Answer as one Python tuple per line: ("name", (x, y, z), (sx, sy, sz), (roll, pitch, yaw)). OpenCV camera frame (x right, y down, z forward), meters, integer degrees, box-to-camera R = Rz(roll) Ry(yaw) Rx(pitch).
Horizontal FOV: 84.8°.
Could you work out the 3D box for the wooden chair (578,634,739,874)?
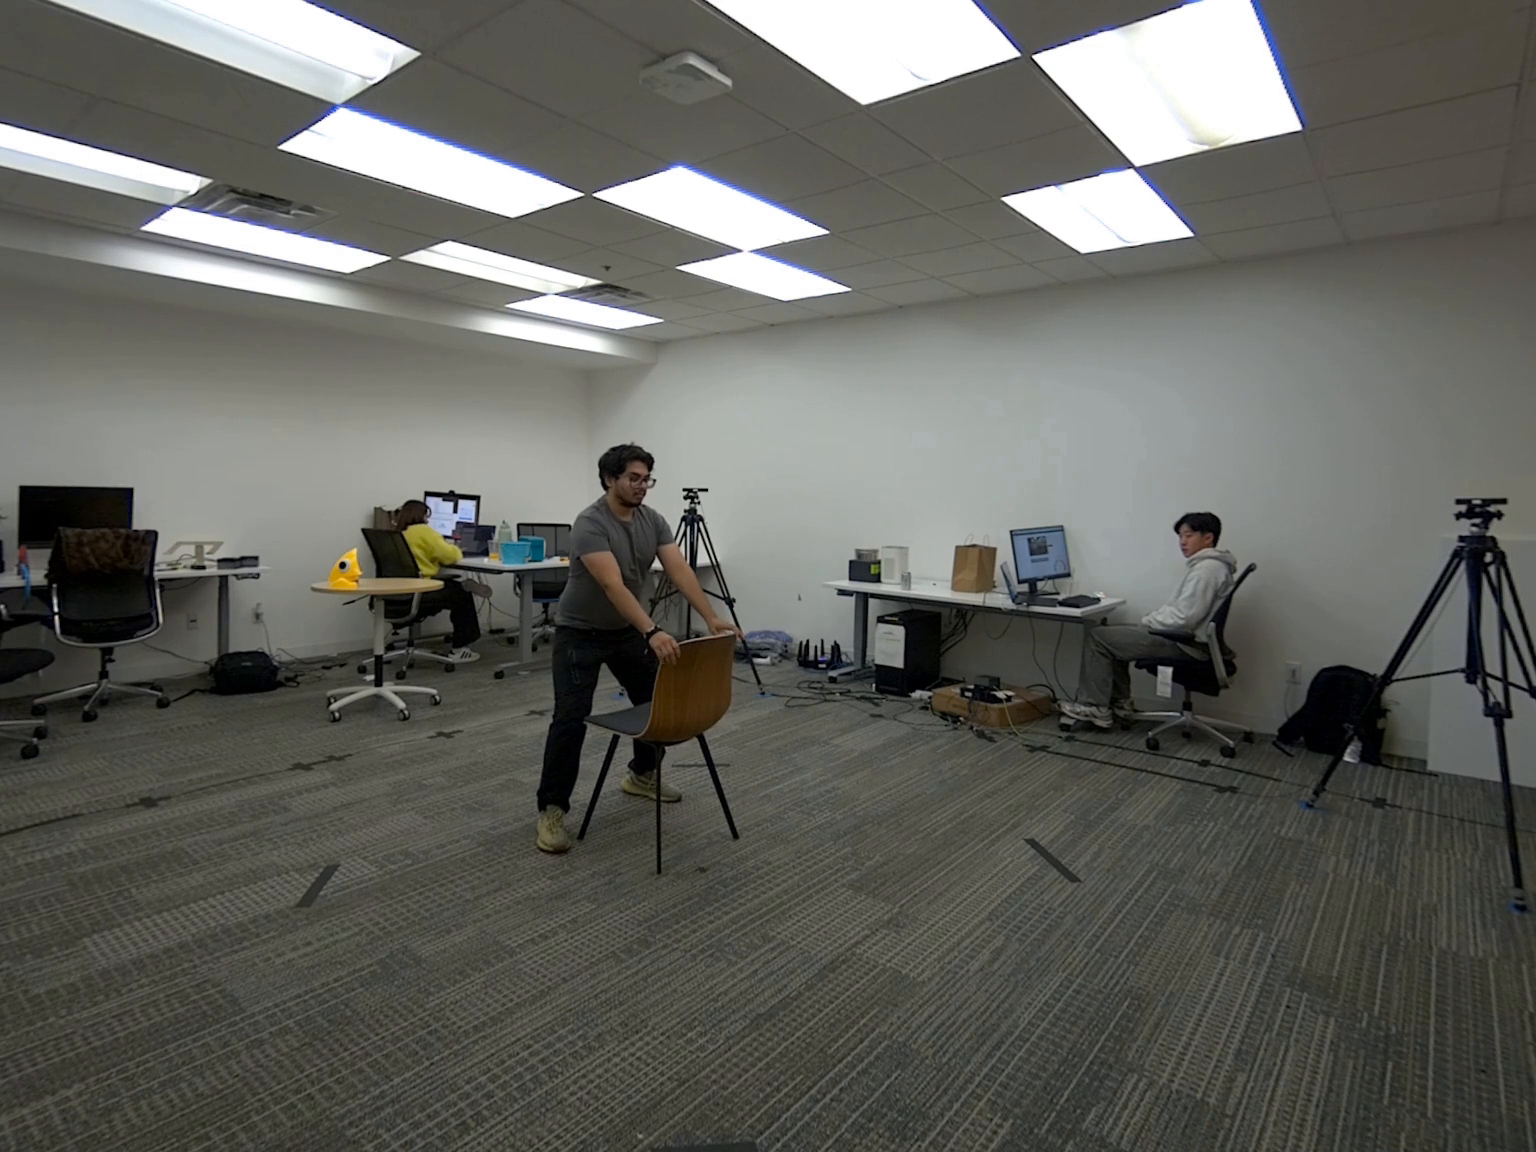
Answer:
("wooden chair", (-0.438, 0.616, 3.350), (0.542, 0.873, 0.464), (9, 8, 39))
